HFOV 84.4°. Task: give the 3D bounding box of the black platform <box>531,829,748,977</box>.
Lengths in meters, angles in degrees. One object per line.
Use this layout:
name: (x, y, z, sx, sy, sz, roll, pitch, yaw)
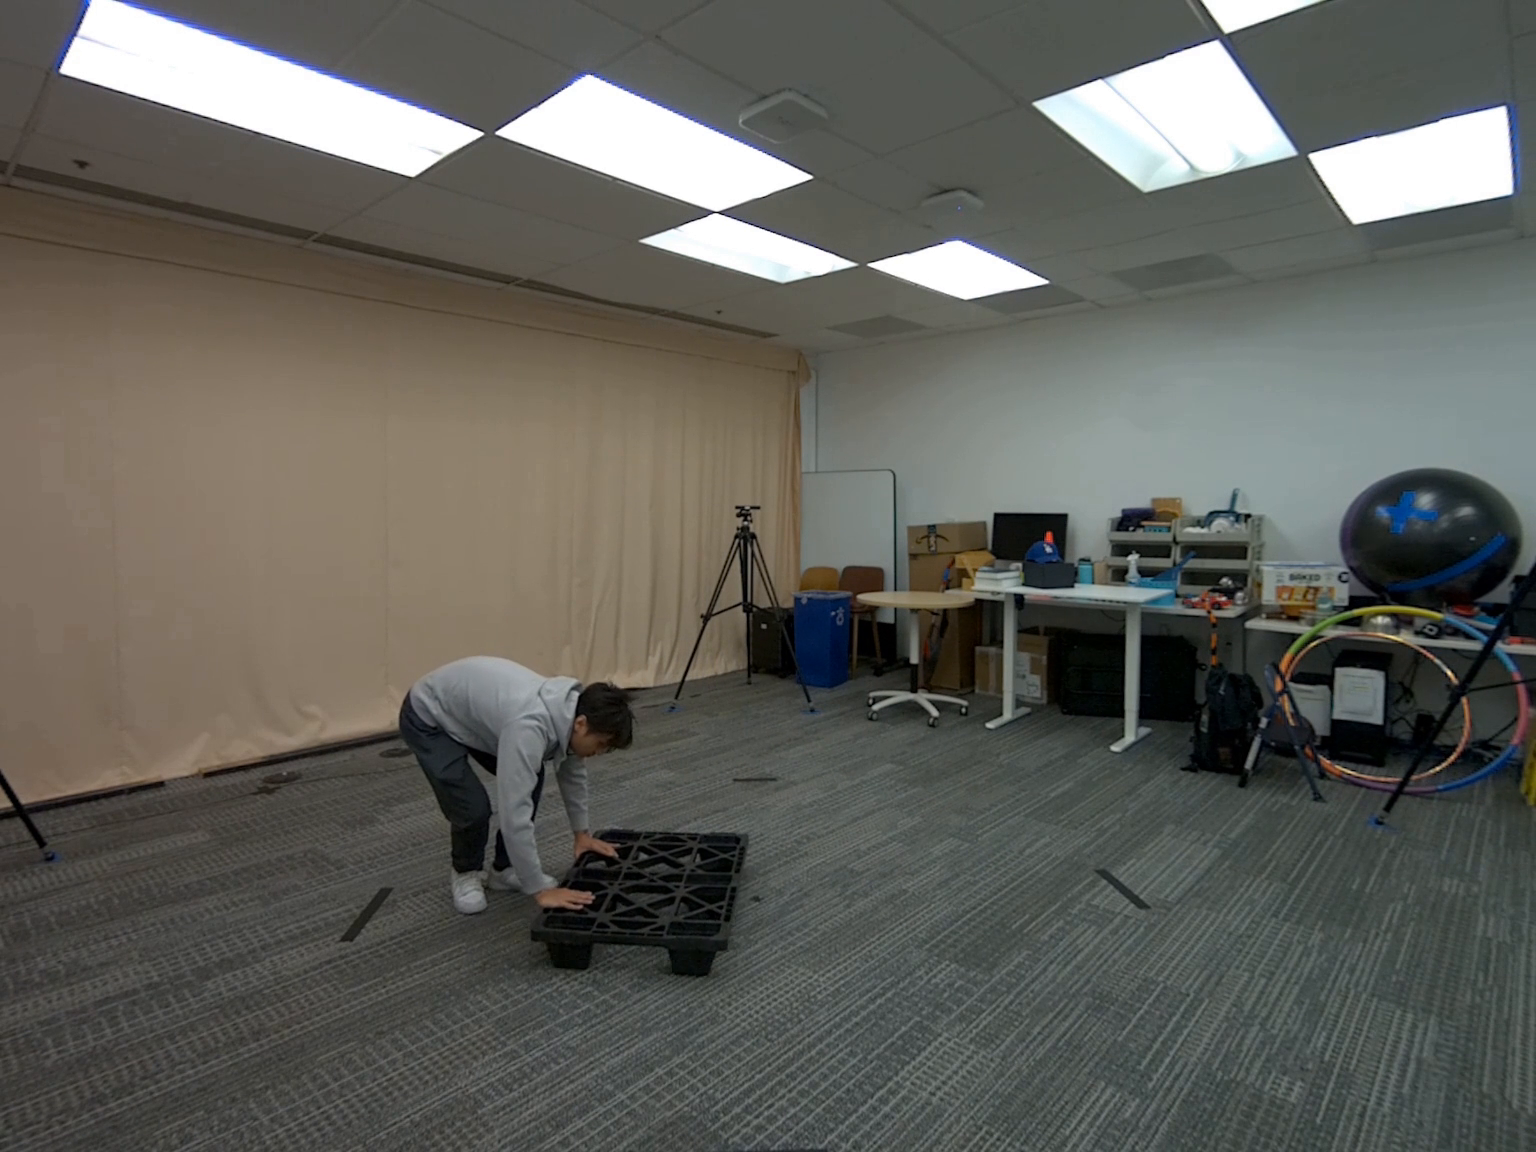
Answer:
black platform: (-0.386, 1.086, 2.875, 0.609, 0.143, 0.803, 0, 5, 4)
